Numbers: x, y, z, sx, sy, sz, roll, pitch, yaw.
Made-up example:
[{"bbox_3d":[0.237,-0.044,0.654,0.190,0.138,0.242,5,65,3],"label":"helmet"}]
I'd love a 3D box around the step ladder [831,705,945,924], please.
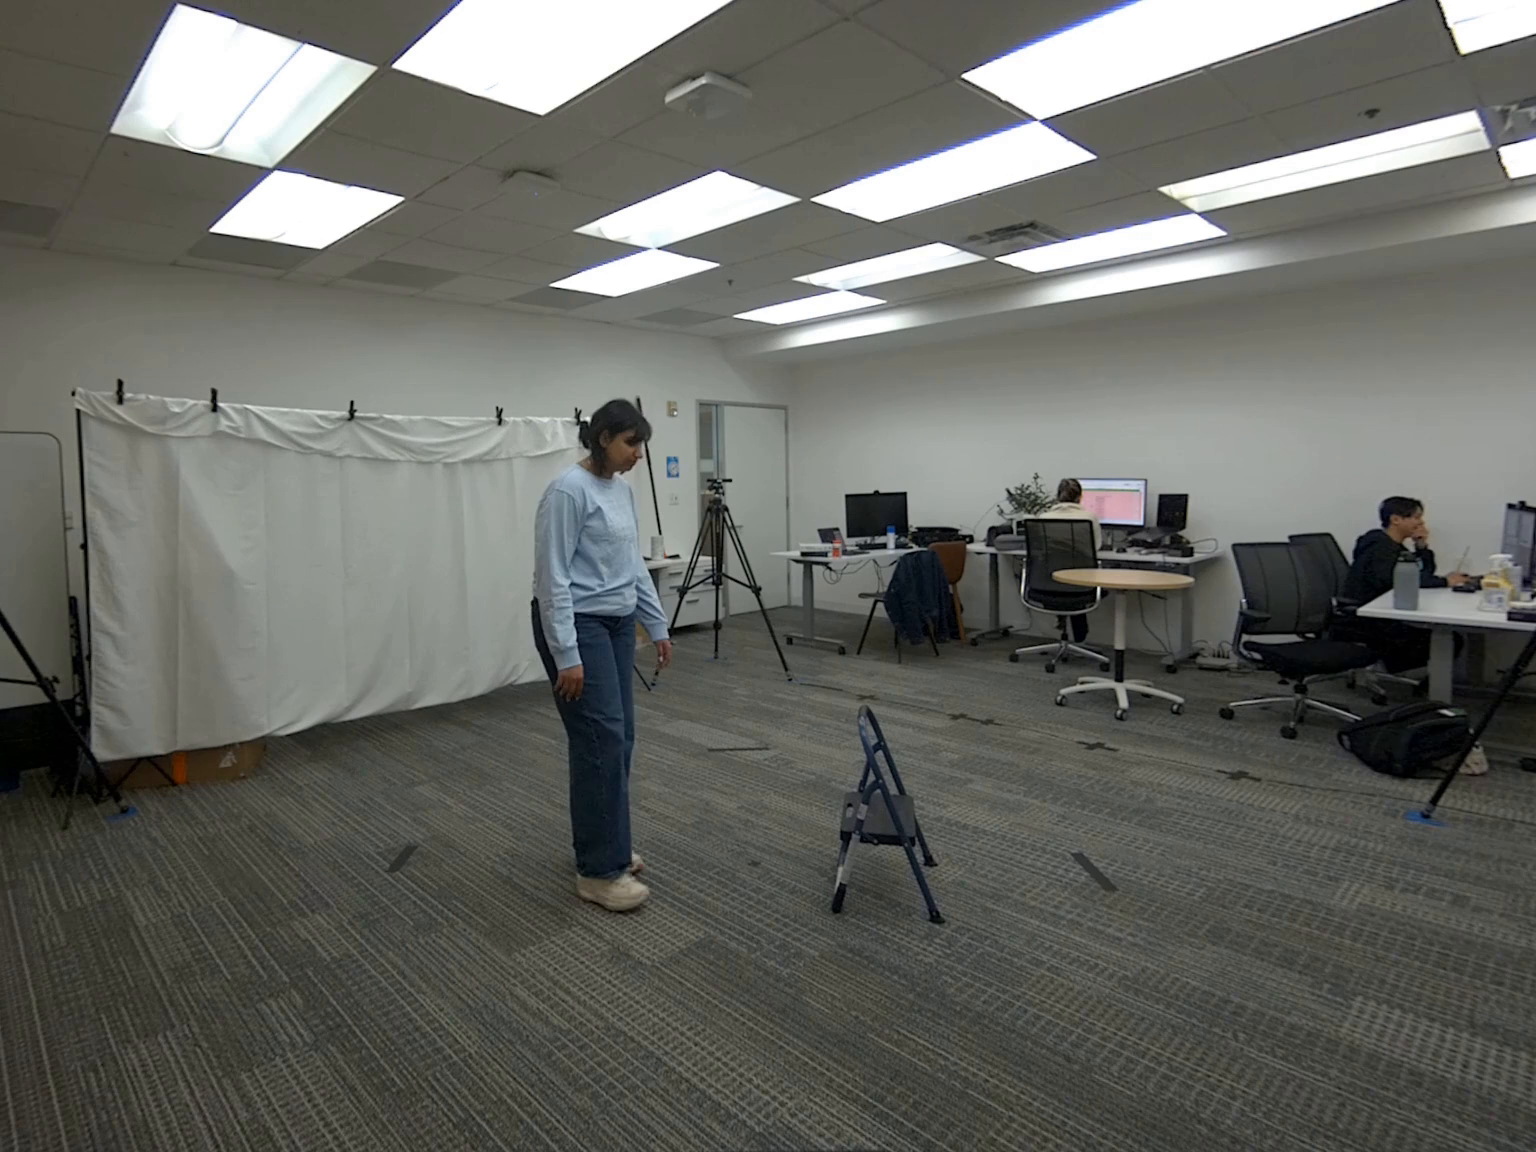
[{"bbox_3d":[0.399,0.754,2.888,0.353,0.604,0.428,0,4,9],"label":"step ladder"}]
